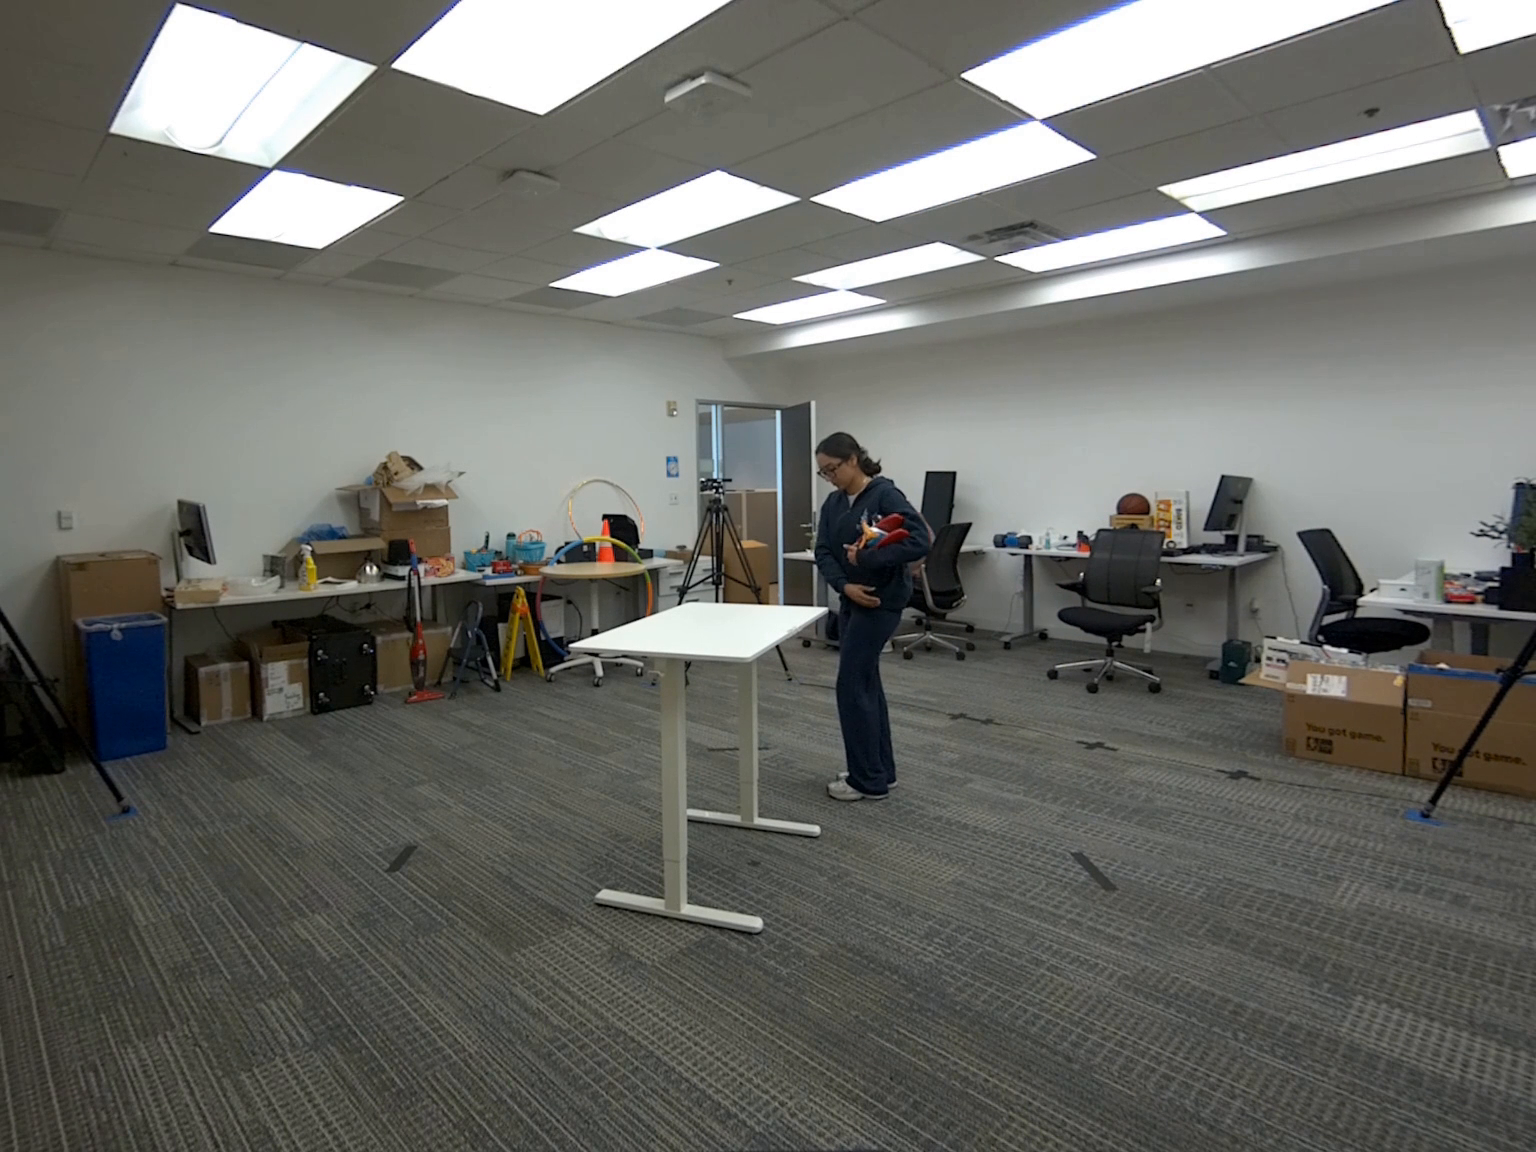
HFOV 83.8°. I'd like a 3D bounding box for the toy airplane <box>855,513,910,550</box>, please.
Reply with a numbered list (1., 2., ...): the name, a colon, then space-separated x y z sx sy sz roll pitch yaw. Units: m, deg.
1. toy airplane: 0.524 -0.161 3.628 0.258 0.246 0.160 10 46 -3
